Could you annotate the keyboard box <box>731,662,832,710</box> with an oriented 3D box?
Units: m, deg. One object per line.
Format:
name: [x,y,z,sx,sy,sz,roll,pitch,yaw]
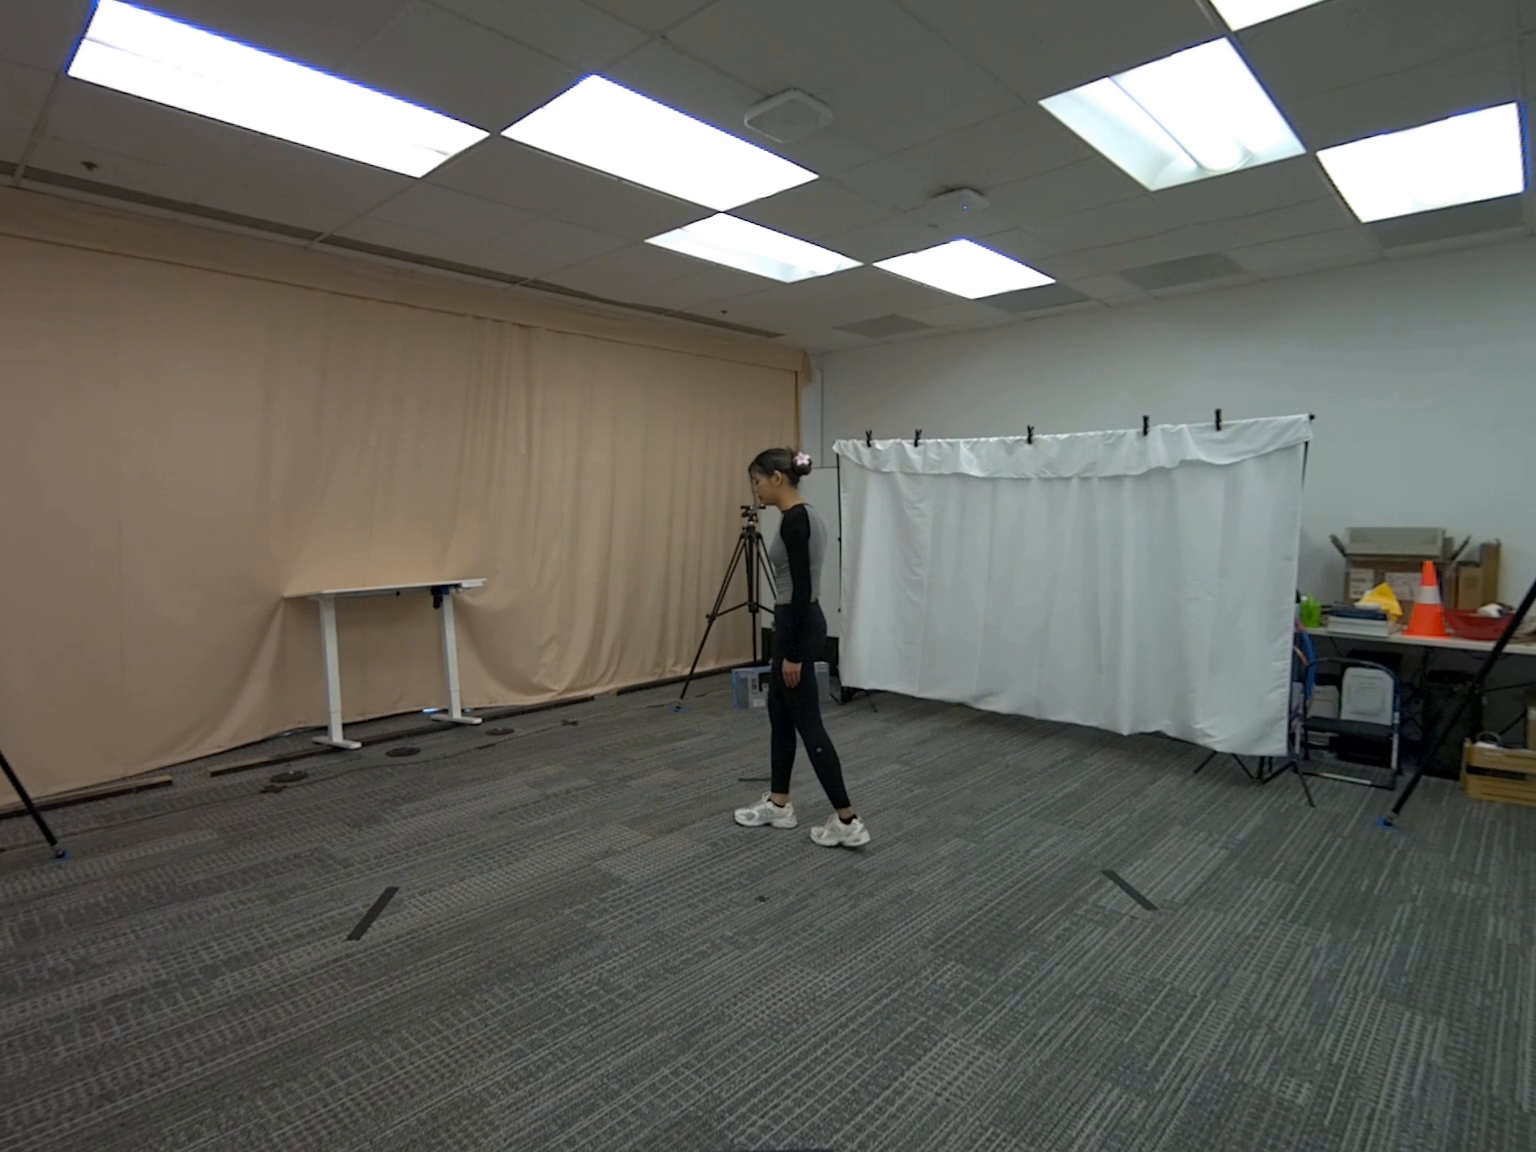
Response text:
keyboard box: [0.065,0.490,3.783,0.432,0.176,0.060,-4,2,-11]
